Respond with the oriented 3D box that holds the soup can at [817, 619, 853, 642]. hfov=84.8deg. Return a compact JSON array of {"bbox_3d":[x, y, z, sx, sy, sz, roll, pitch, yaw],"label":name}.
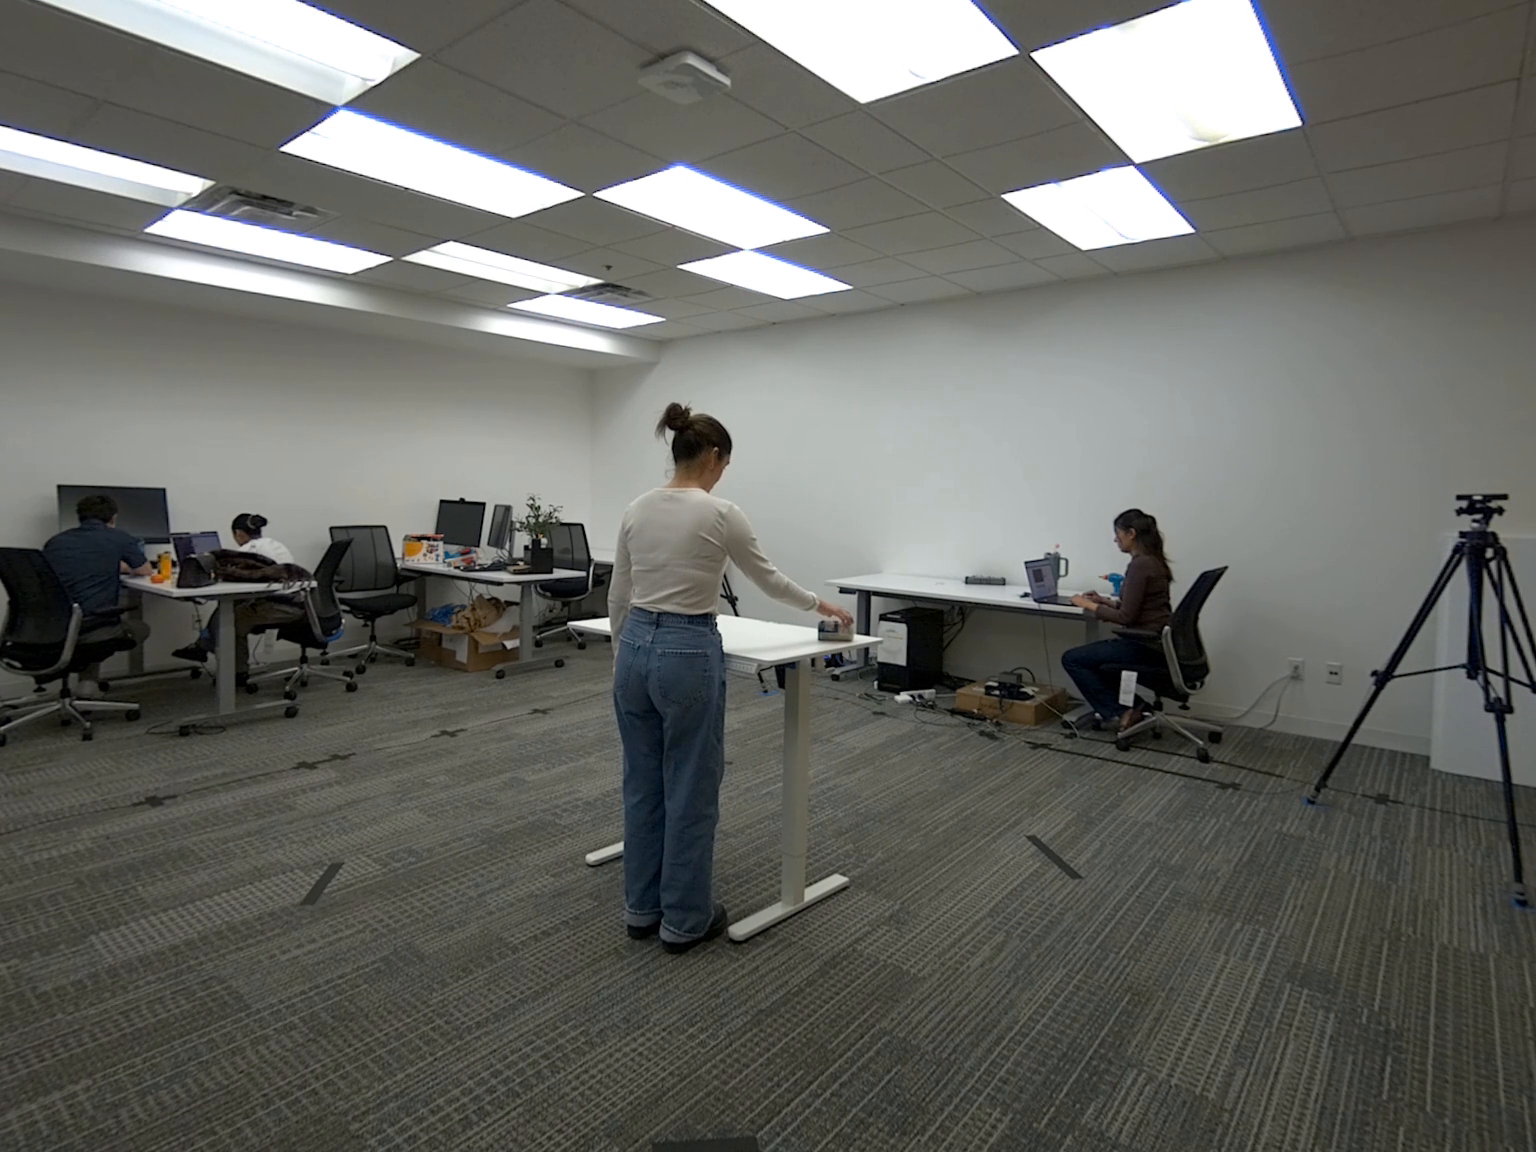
[{"bbox_3d":[0.217,0.176,2.859,0.122,0.067,0.067,1,4,5],"label":"soup can"}]
